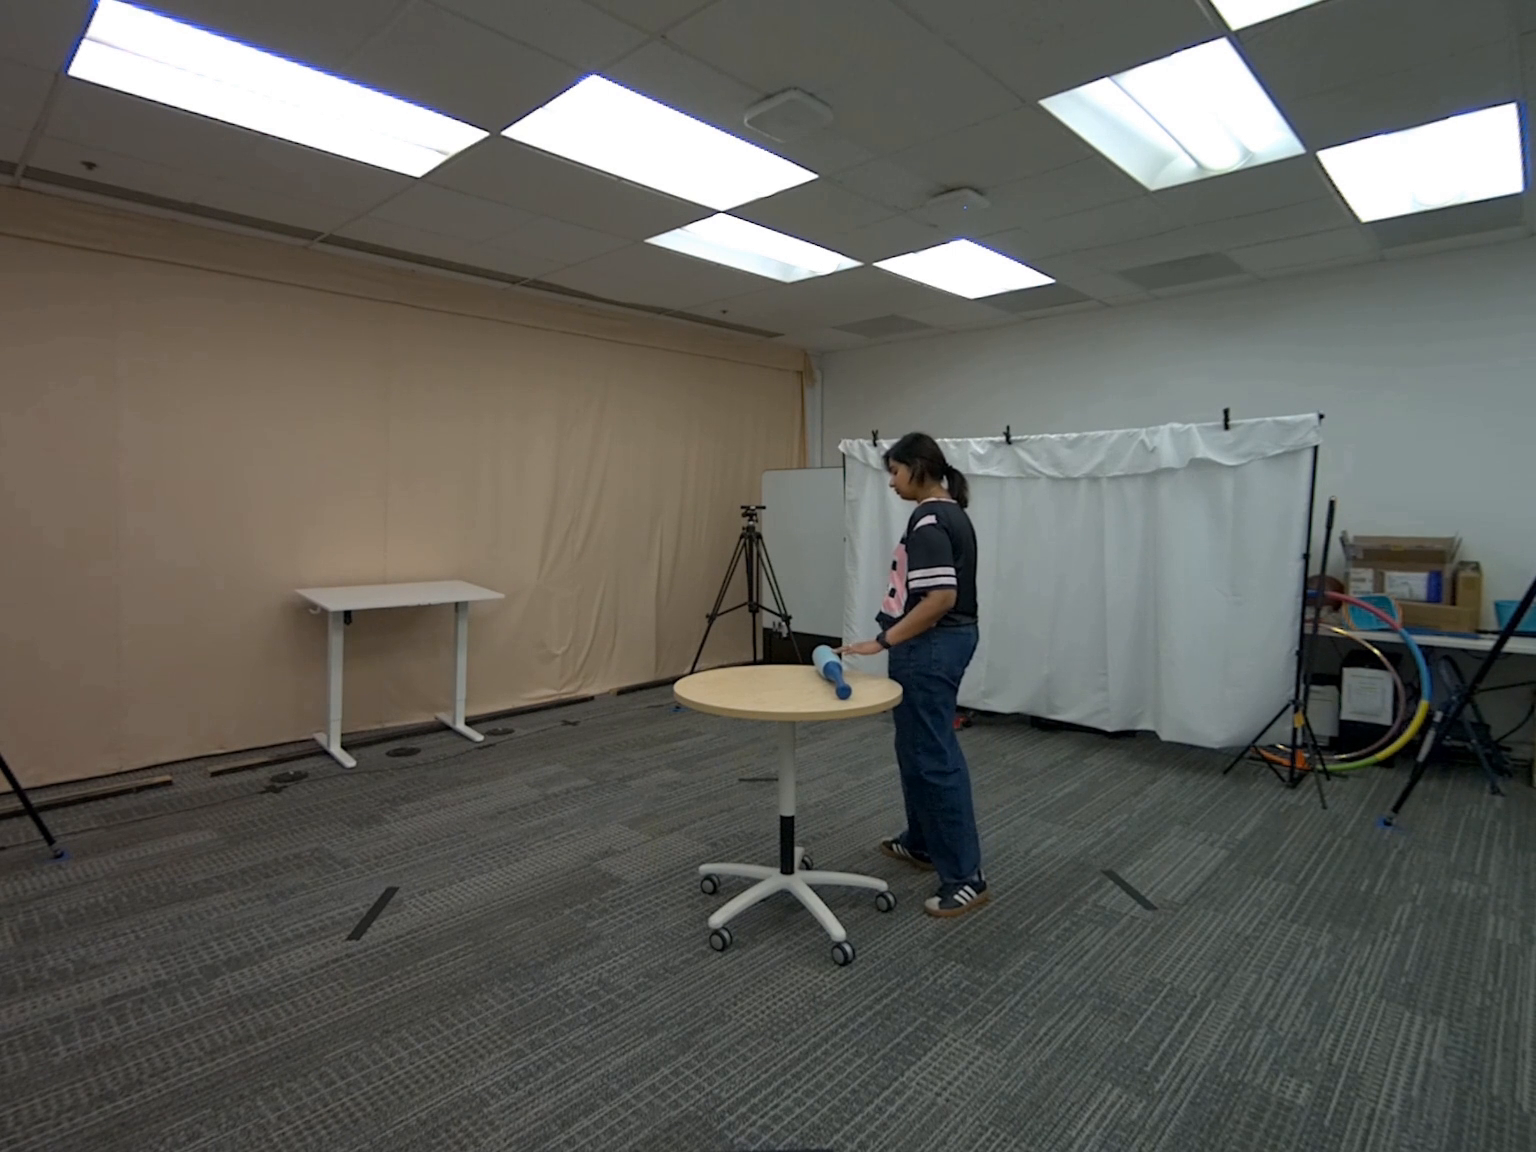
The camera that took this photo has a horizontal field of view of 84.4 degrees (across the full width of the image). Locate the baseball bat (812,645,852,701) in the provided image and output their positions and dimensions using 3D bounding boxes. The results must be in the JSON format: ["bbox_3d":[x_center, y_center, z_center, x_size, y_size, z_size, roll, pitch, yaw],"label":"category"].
[{"bbox_3d":[0.229,0.332,2.884,0.088,0.089,0.547,0,7,-6],"label":"baseball bat"}]
